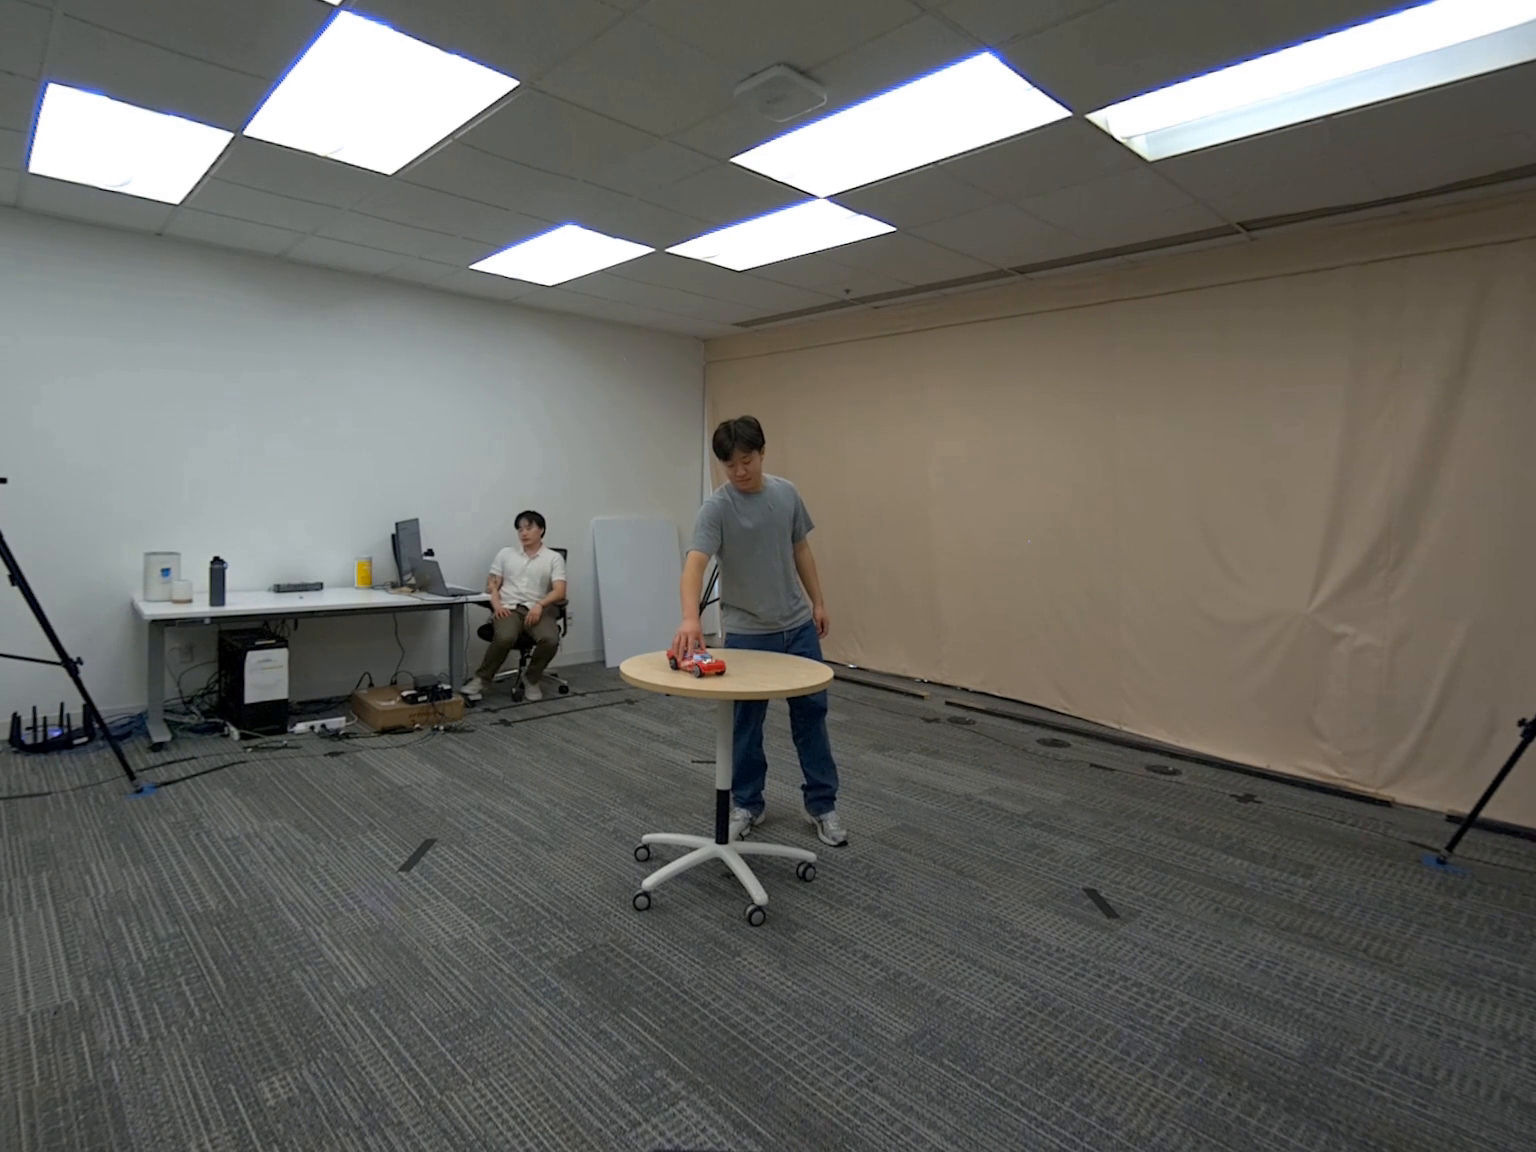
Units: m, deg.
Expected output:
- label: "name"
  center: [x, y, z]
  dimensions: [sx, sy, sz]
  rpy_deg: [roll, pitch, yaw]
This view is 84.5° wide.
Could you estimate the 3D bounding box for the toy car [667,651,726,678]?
- label: "toy car"
  center: [-0.264, 0.304, 2.938]
  dimensions: [0.127, 0.082, 0.262]
  rpy_deg: [-3, 17, -38]
